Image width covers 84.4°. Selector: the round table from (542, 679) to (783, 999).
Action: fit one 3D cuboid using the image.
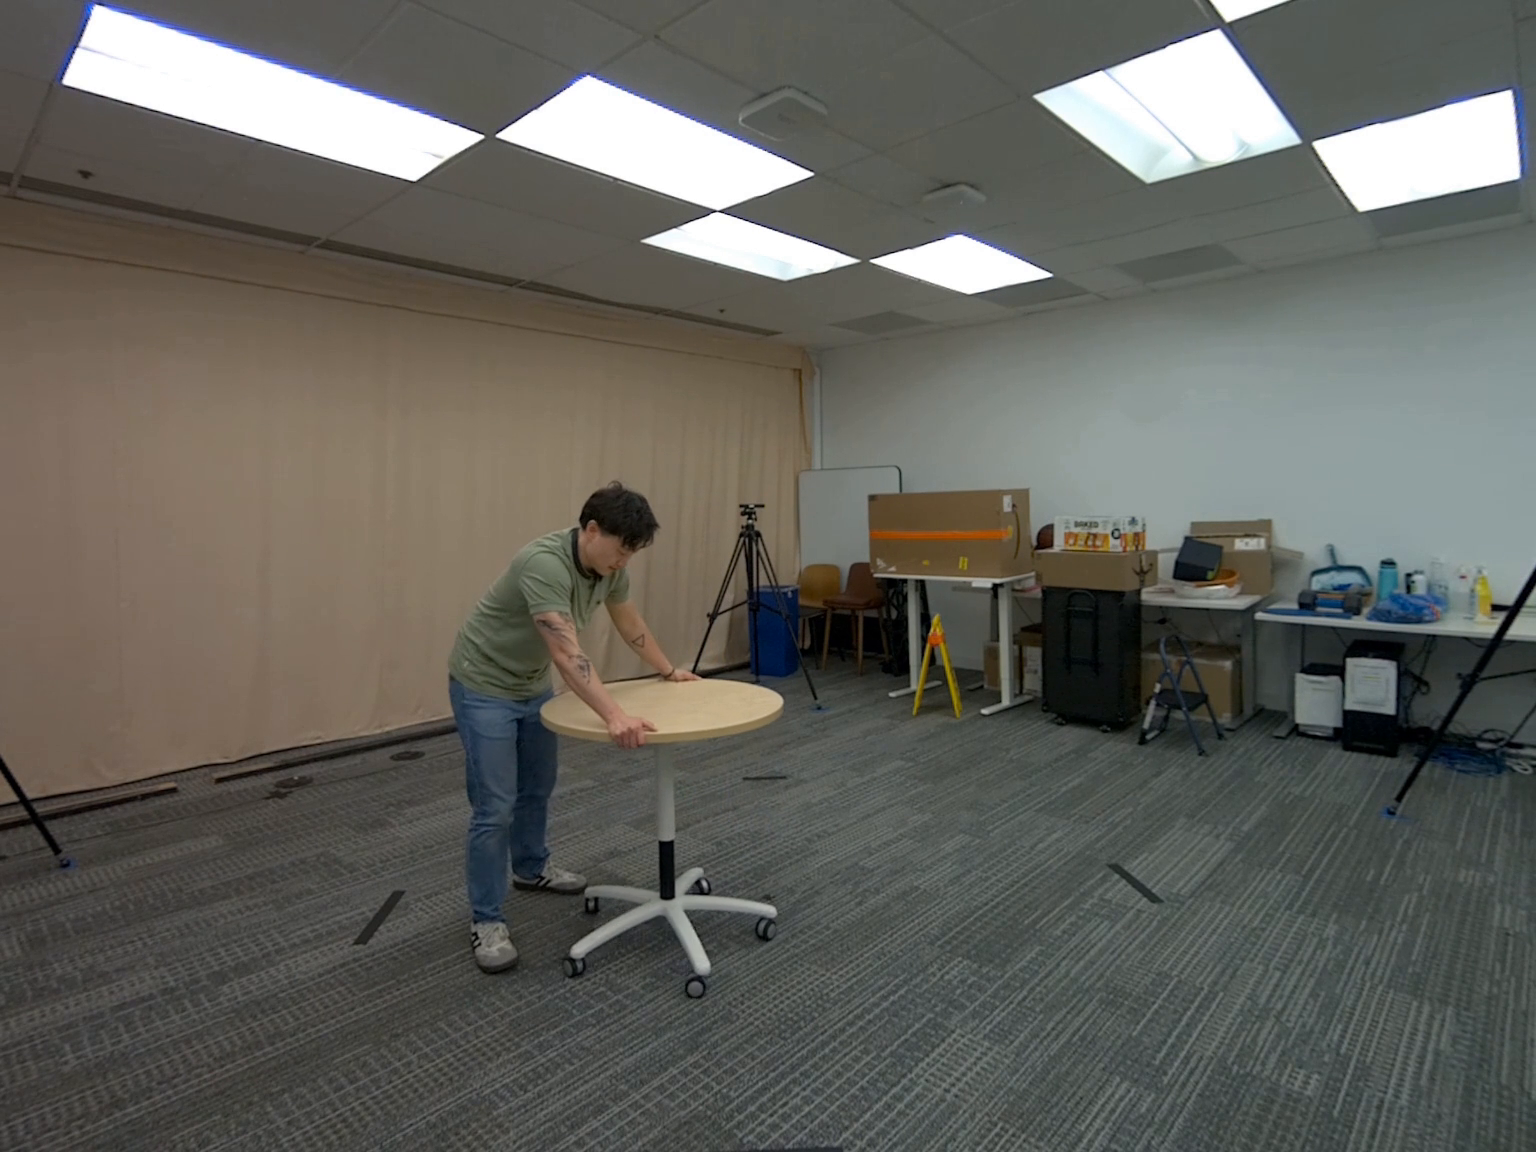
[{"bbox_3d":[-0.327,0.791,2.684,0.763,0.792,0.766,-2,4,-2],"label":"round table"}]
